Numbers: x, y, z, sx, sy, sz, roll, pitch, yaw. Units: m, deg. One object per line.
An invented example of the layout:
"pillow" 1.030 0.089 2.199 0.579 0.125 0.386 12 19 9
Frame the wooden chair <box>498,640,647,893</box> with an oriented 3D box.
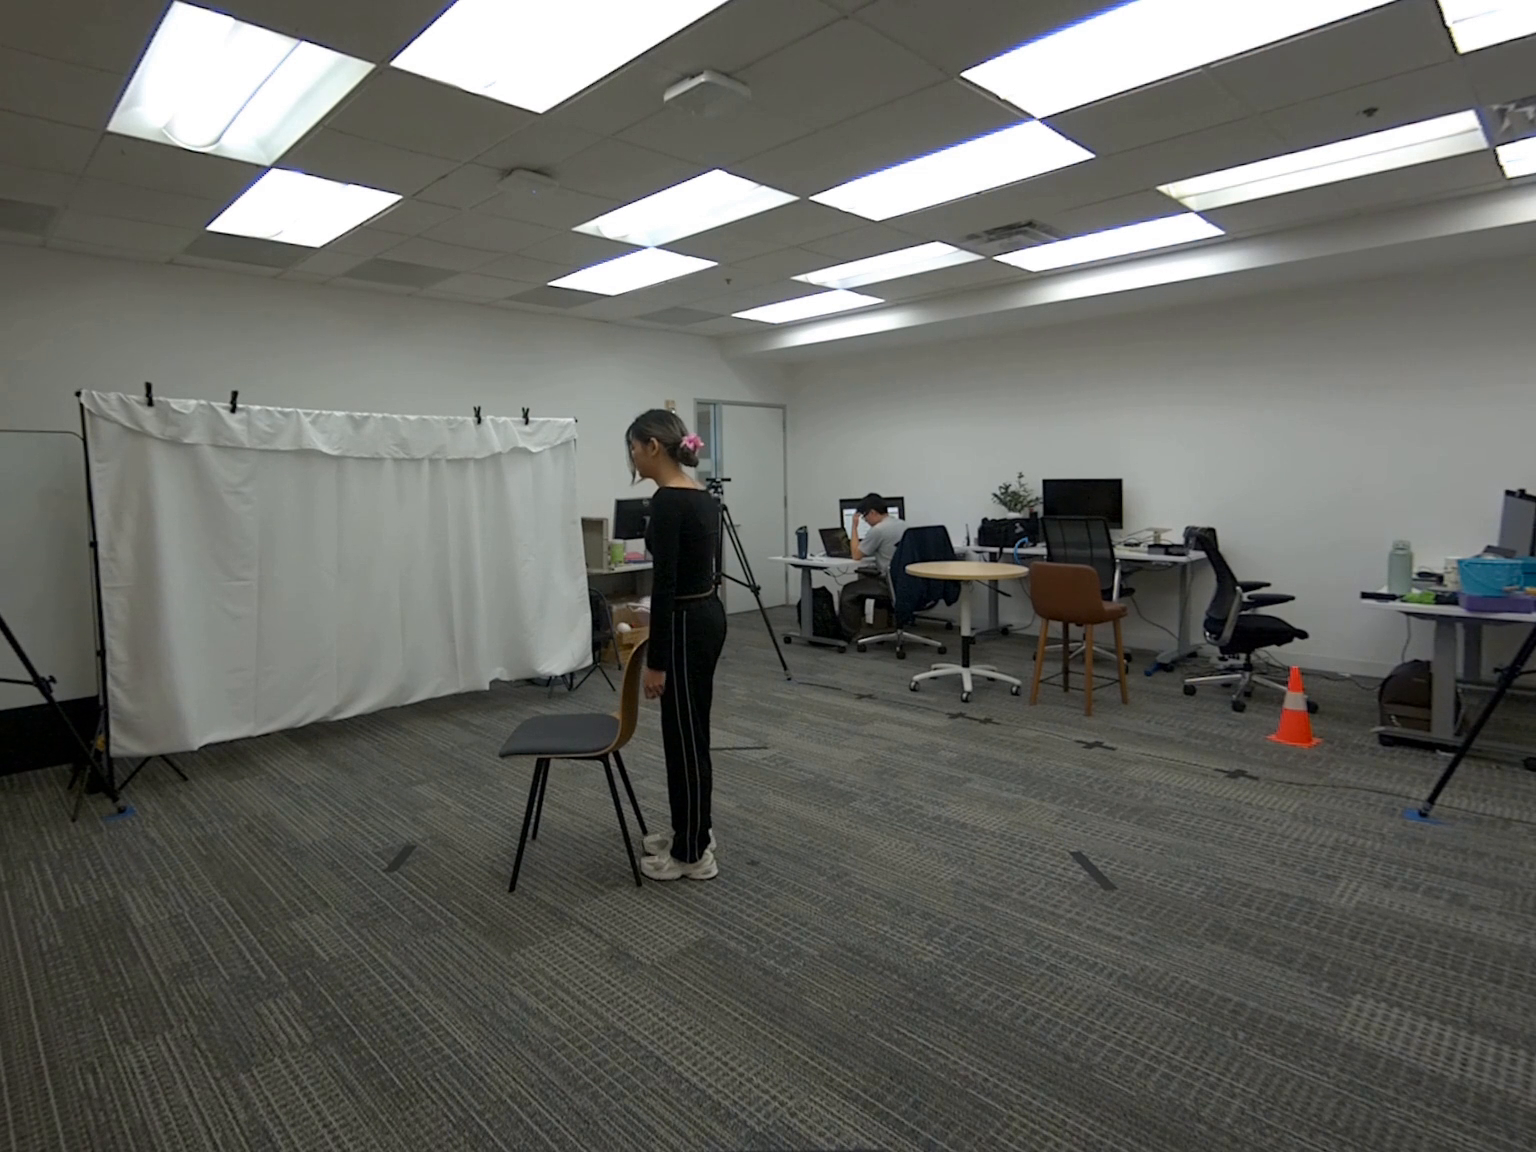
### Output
"wooden chair" -0.696 0.627 3.107 0.521 0.874 0.482 3 5 -4
